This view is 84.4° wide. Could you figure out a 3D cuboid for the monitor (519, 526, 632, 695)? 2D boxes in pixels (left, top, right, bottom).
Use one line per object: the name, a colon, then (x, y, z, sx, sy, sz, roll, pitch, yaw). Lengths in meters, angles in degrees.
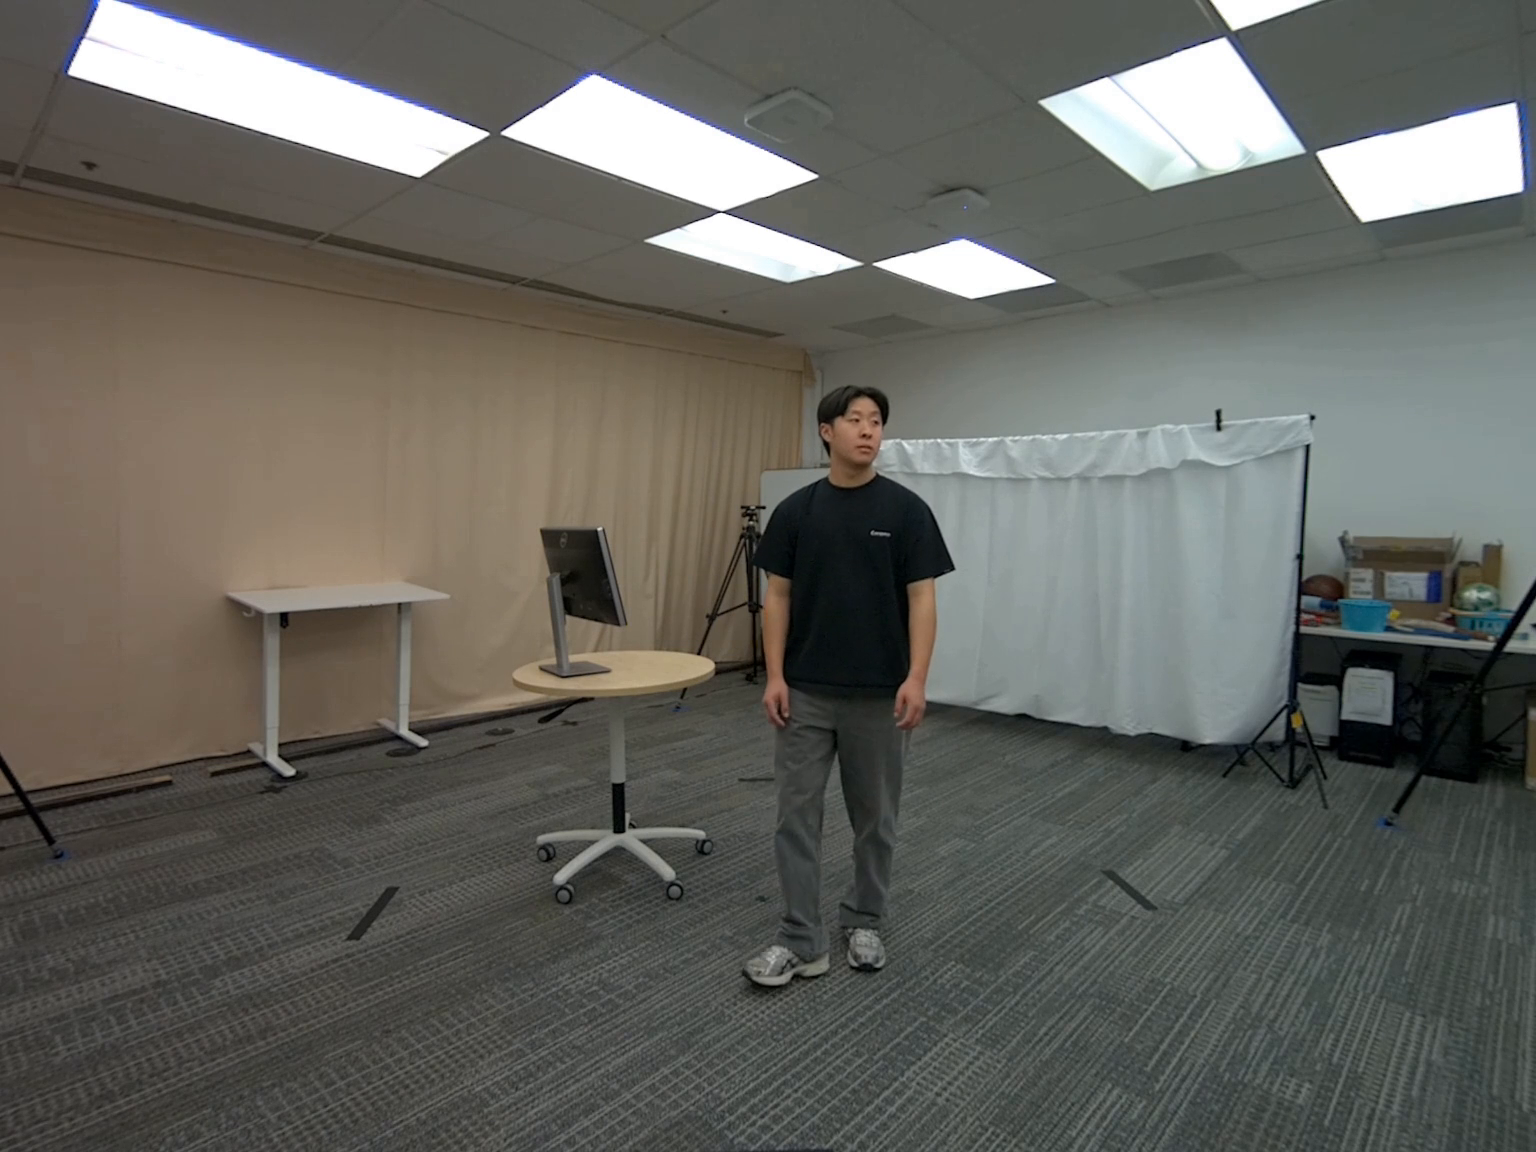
monitor: (-0.736, 0.099, 3.173, 0.216, 0.565, 0.579, 0, 3, -33)
